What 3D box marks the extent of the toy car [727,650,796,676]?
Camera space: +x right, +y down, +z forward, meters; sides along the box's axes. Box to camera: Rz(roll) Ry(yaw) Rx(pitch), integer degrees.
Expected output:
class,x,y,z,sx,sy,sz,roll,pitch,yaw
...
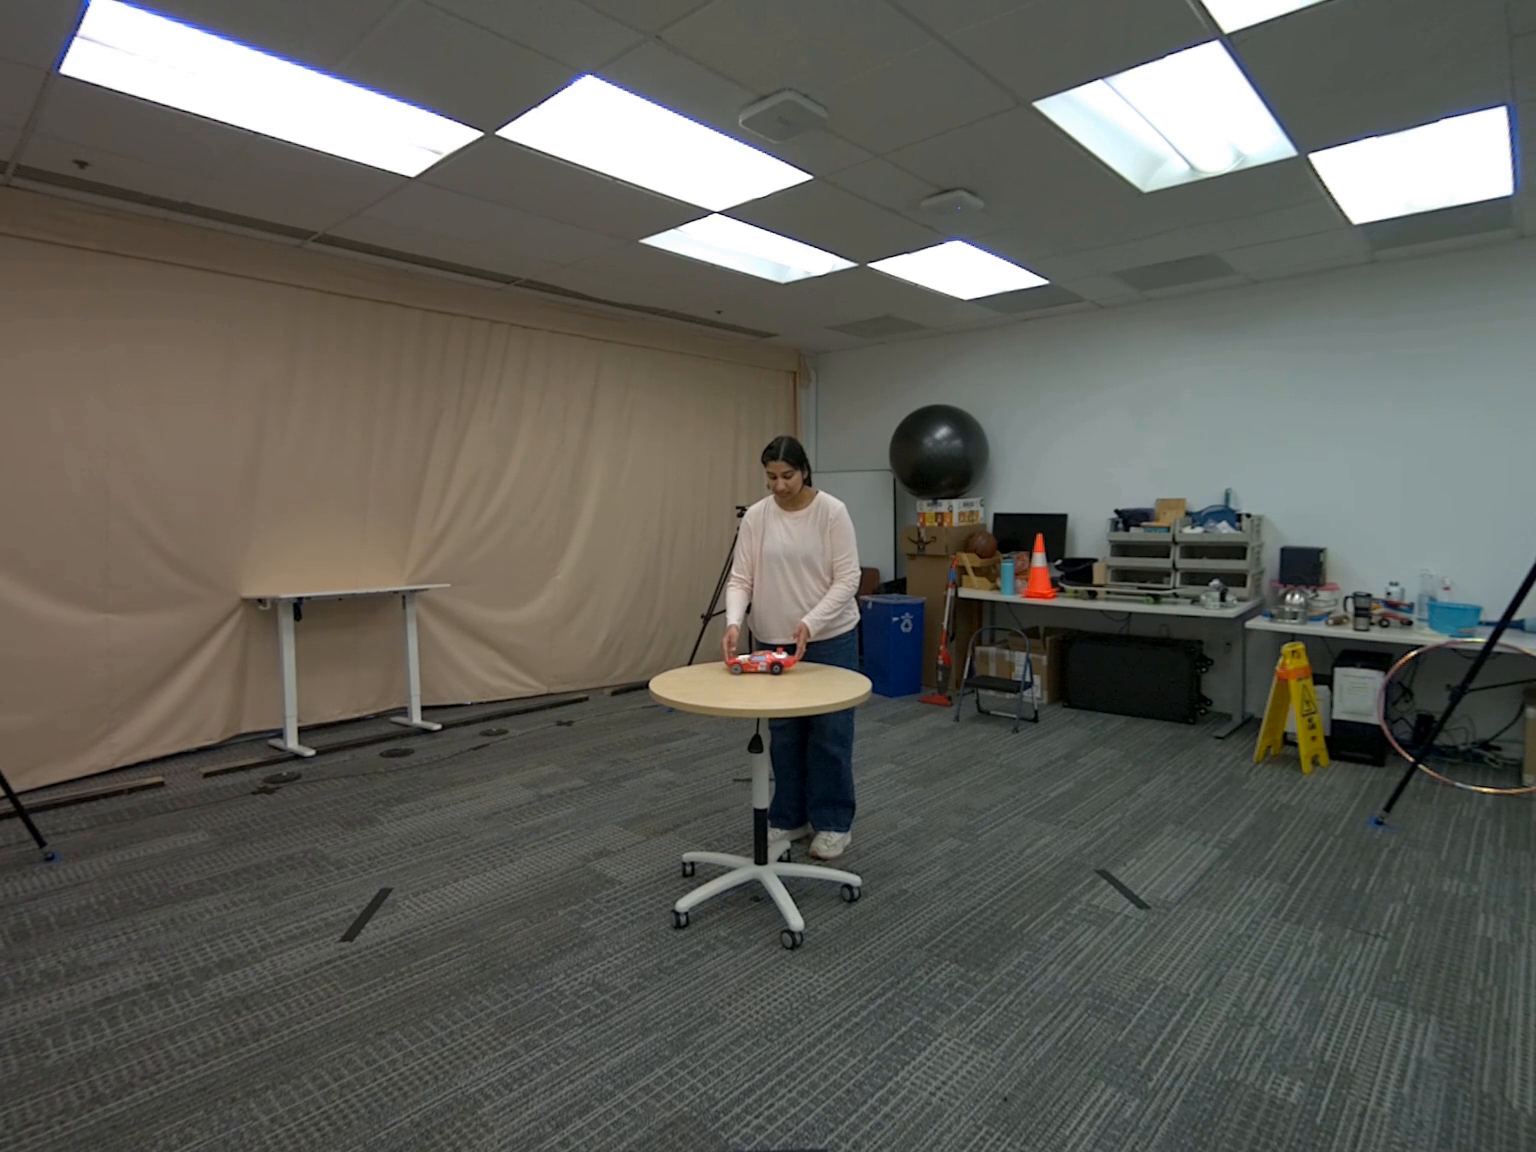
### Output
class,x,y,z,sx,sy,sz,roll,pitch,yaw
toy car,-0.010,0.320,3.074,0.256,0.083,0.130,-11,3,7
